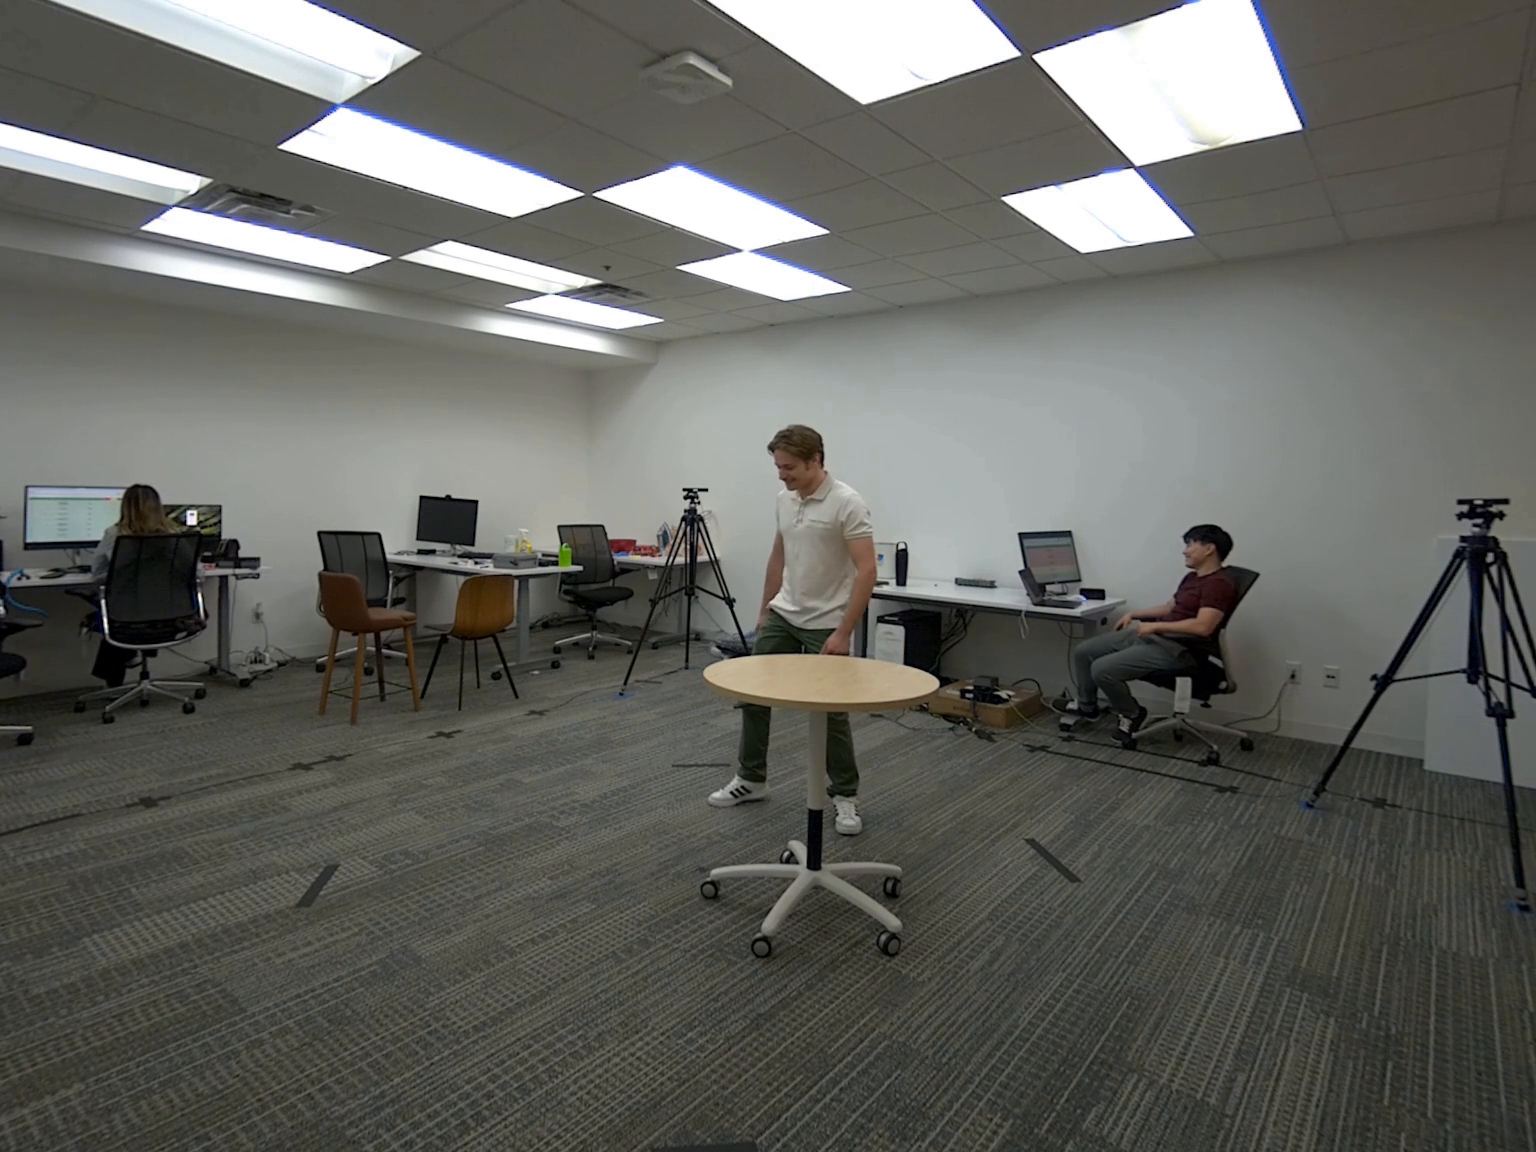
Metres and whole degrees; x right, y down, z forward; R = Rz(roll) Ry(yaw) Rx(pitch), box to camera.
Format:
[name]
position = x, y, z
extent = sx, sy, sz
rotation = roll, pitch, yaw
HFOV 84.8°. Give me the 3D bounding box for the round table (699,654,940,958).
[round table]
position = 0.142, 0.717, 2.807
extent = 0.763, 0.792, 0.767
rotation = 1, 3, -2
